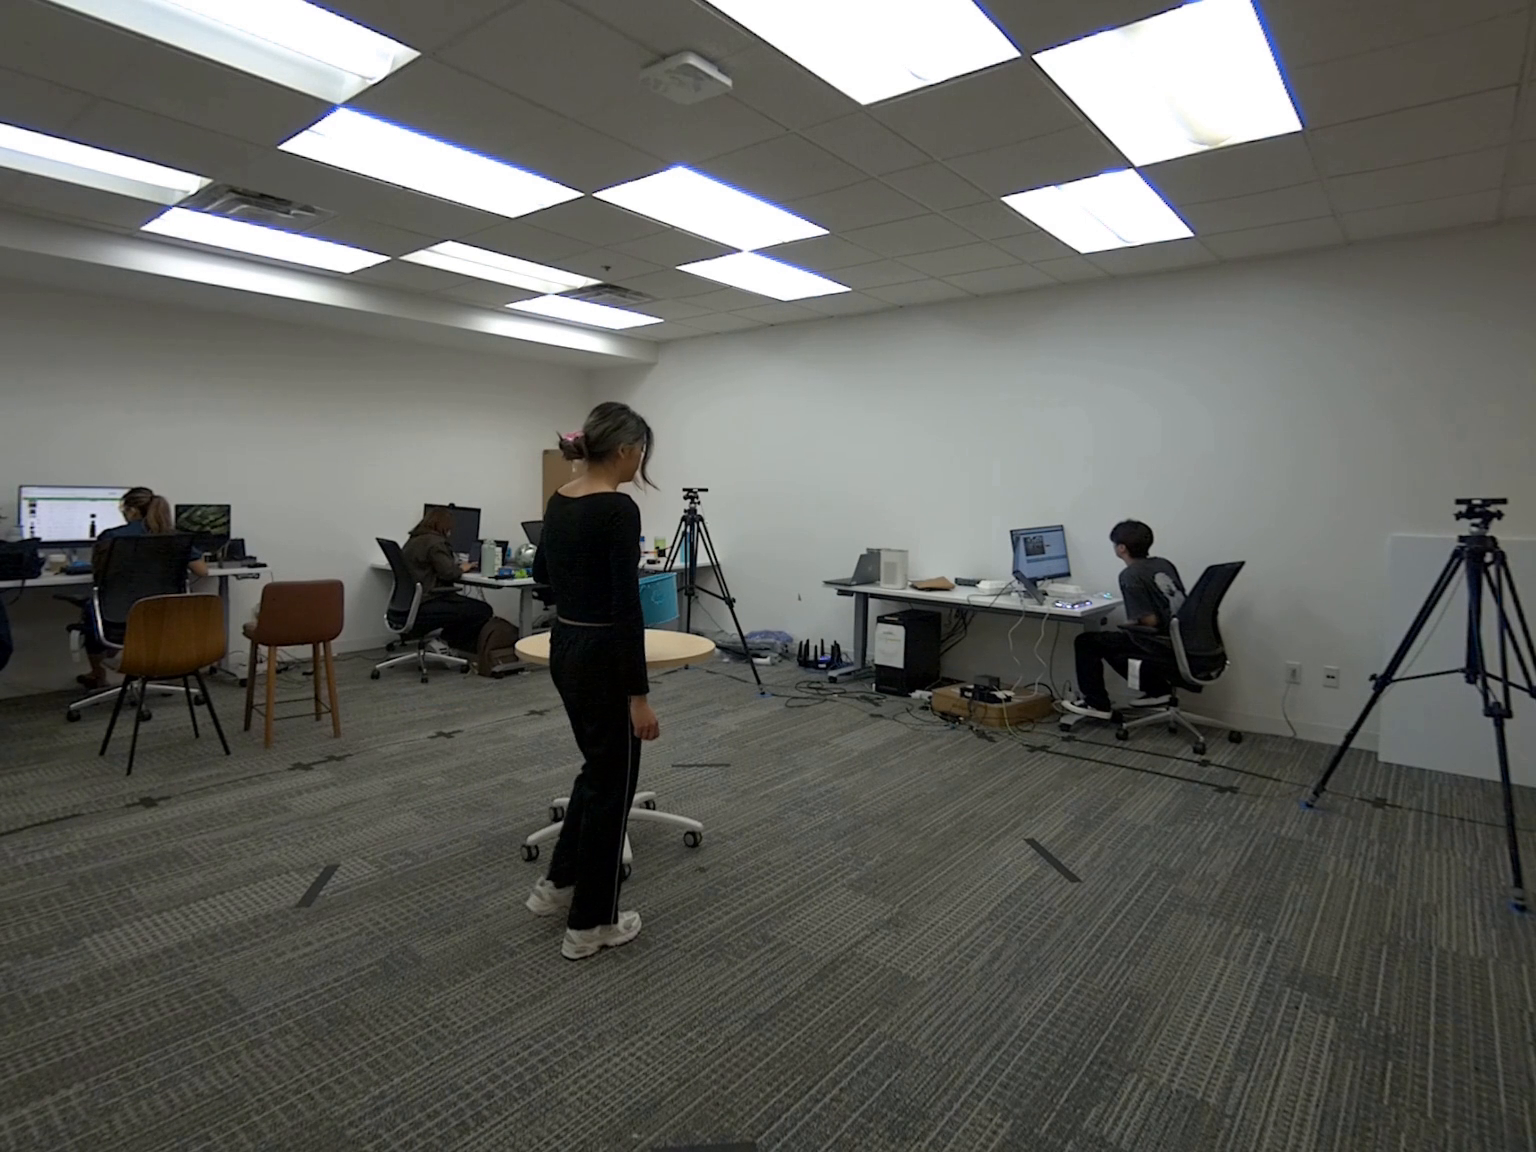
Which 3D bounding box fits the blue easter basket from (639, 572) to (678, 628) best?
[{"bbox_3d":[-0.434,0.094,3.015,0.243,0.155,0.245,-12,6,-1],"label":"blue easter basket"}]
